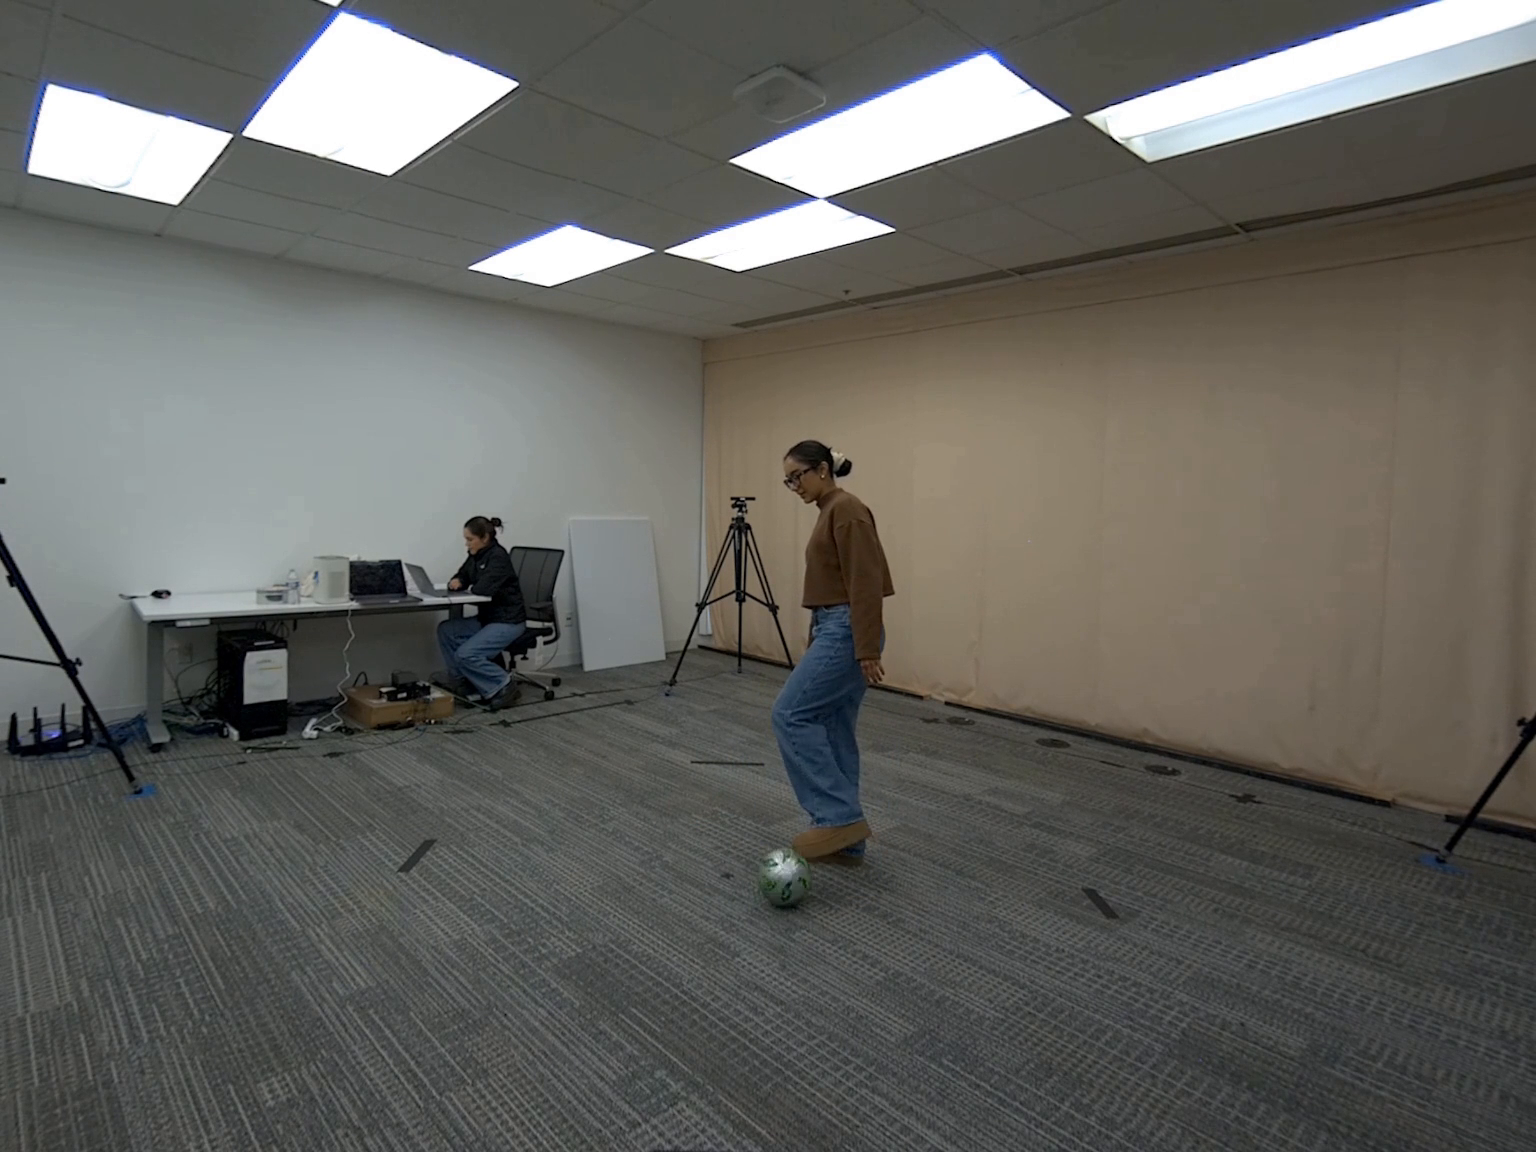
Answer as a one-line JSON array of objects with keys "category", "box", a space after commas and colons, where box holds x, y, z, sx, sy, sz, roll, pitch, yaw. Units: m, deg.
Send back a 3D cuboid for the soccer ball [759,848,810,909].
[{"category": "soccer ball", "box": [0.039, 1.036, 2.884, 0.187, 0.187, 0.188, 1, 4, -1]}]
